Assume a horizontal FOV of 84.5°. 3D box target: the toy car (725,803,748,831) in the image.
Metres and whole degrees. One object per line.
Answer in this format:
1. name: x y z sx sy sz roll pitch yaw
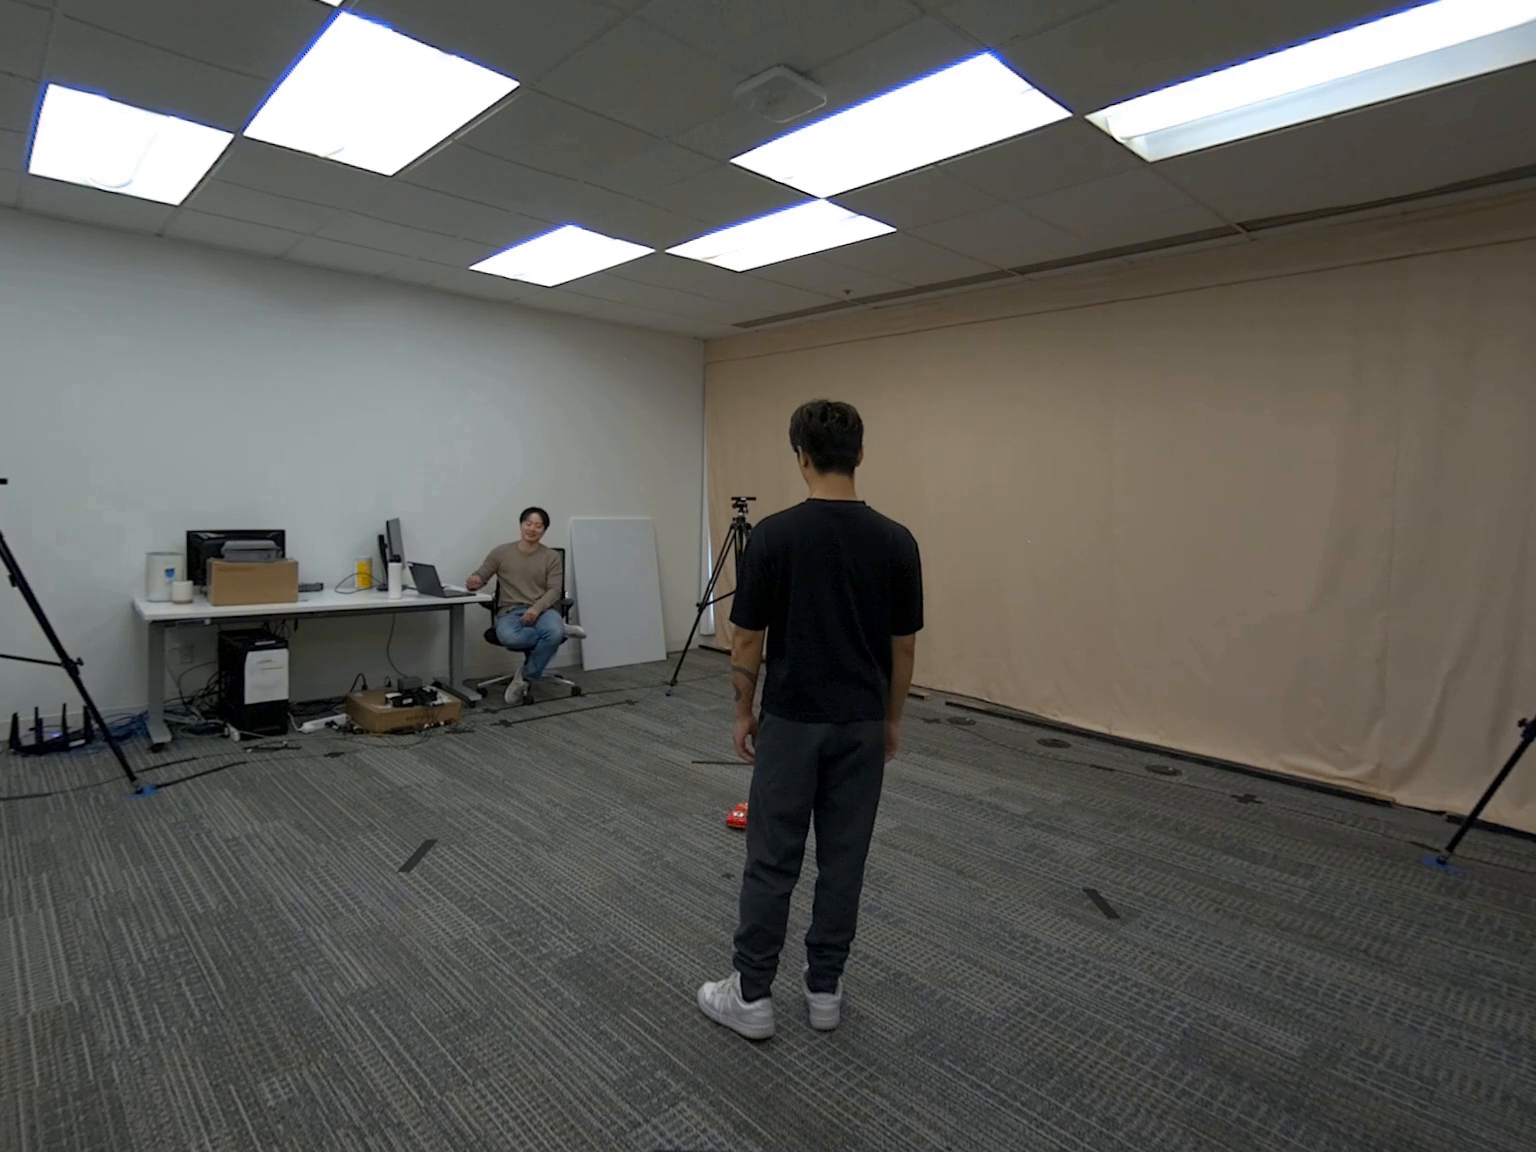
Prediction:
1. toy car: -0.115 1.034 3.624 0.132 0.083 0.250 2 -5 16
